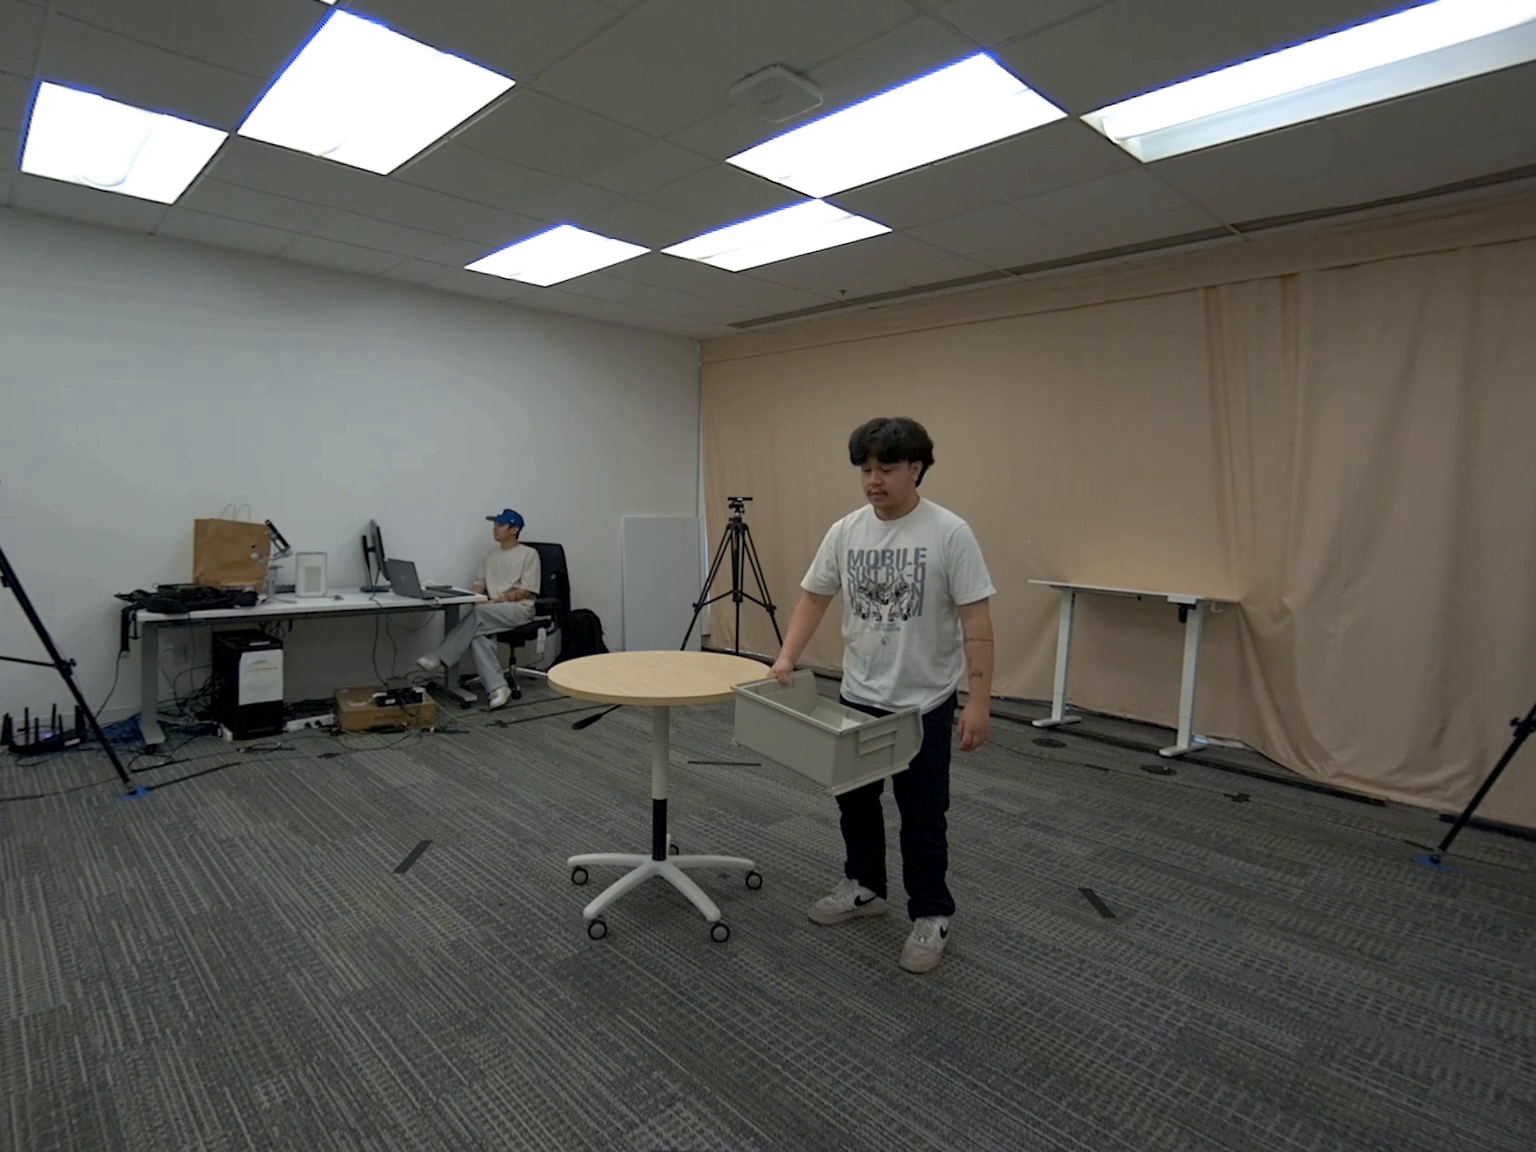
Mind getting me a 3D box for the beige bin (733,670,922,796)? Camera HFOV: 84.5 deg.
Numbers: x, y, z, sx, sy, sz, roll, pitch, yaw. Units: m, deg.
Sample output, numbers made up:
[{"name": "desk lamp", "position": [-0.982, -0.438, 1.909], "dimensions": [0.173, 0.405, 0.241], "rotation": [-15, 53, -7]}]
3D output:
[{"name": "beige bin", "position": [0.160, 0.429, 2.410], "dimensions": [0.369, 0.187, 0.434], "rotation": [-7, 16, -42]}]
